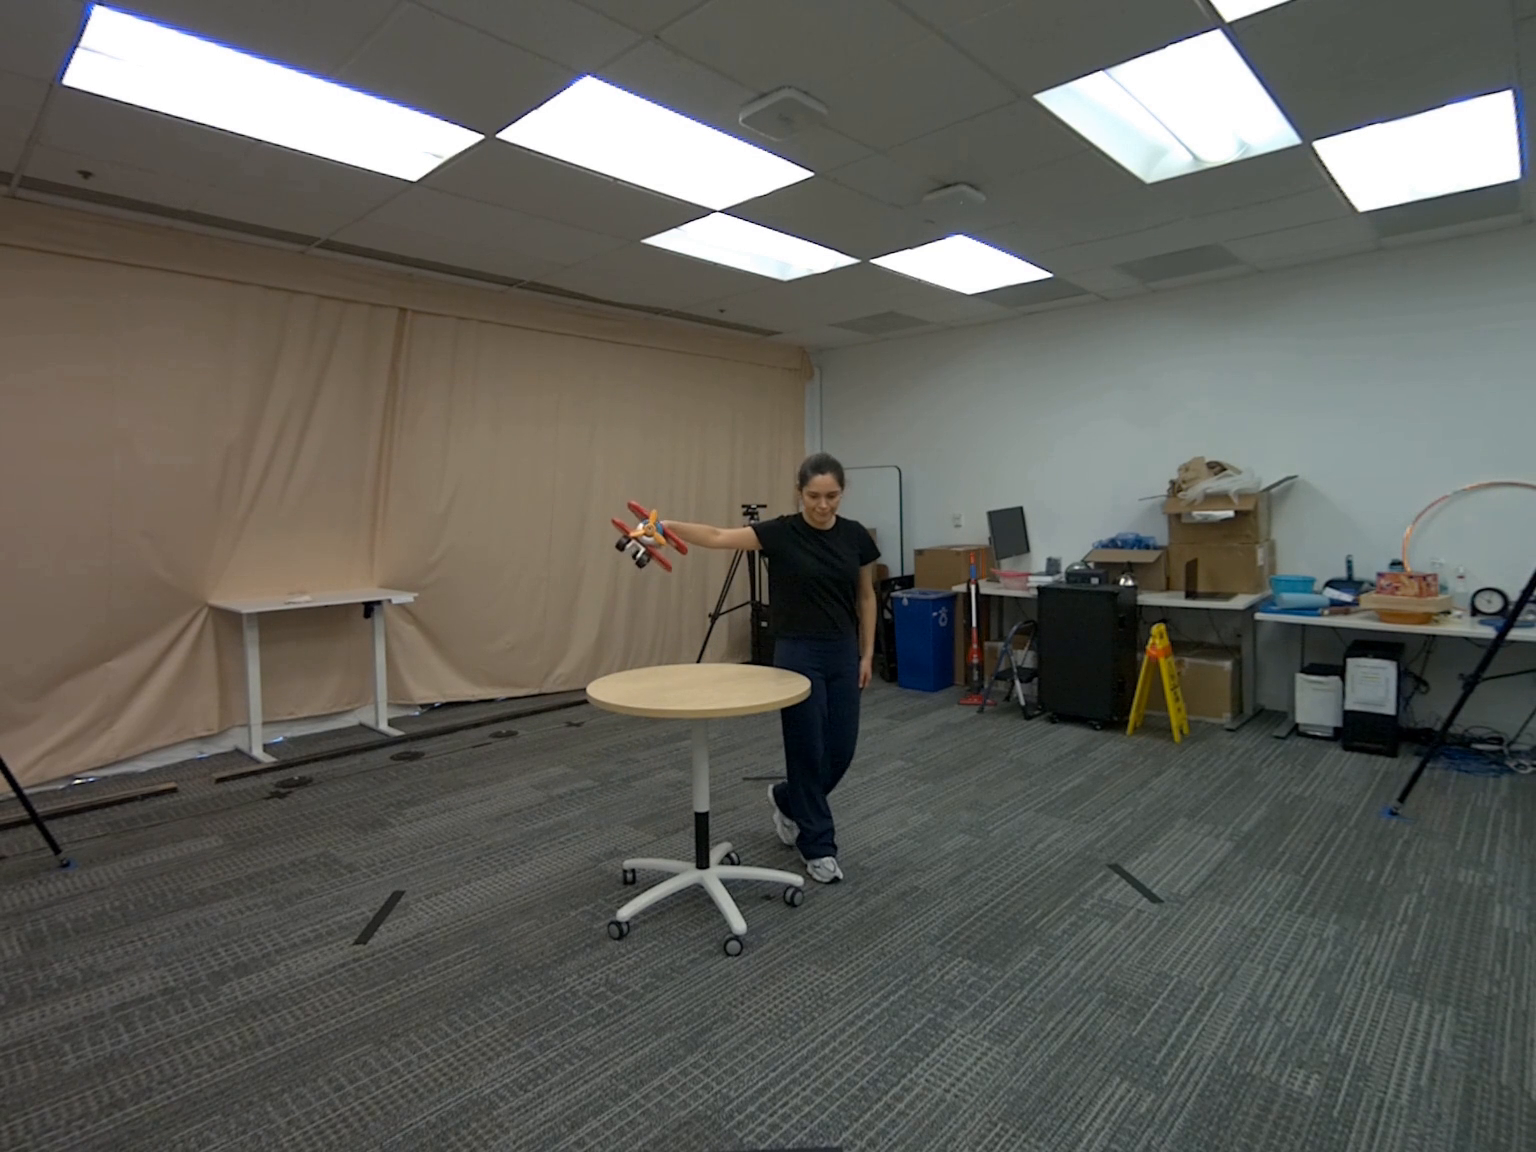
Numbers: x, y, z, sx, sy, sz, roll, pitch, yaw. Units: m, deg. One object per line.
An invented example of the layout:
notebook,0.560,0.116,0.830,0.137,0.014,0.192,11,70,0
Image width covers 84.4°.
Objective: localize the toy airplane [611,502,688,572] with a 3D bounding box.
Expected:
toy airplane,-0.394,-0.124,2.784,0.244,0.156,0.266,41,-3,-25
